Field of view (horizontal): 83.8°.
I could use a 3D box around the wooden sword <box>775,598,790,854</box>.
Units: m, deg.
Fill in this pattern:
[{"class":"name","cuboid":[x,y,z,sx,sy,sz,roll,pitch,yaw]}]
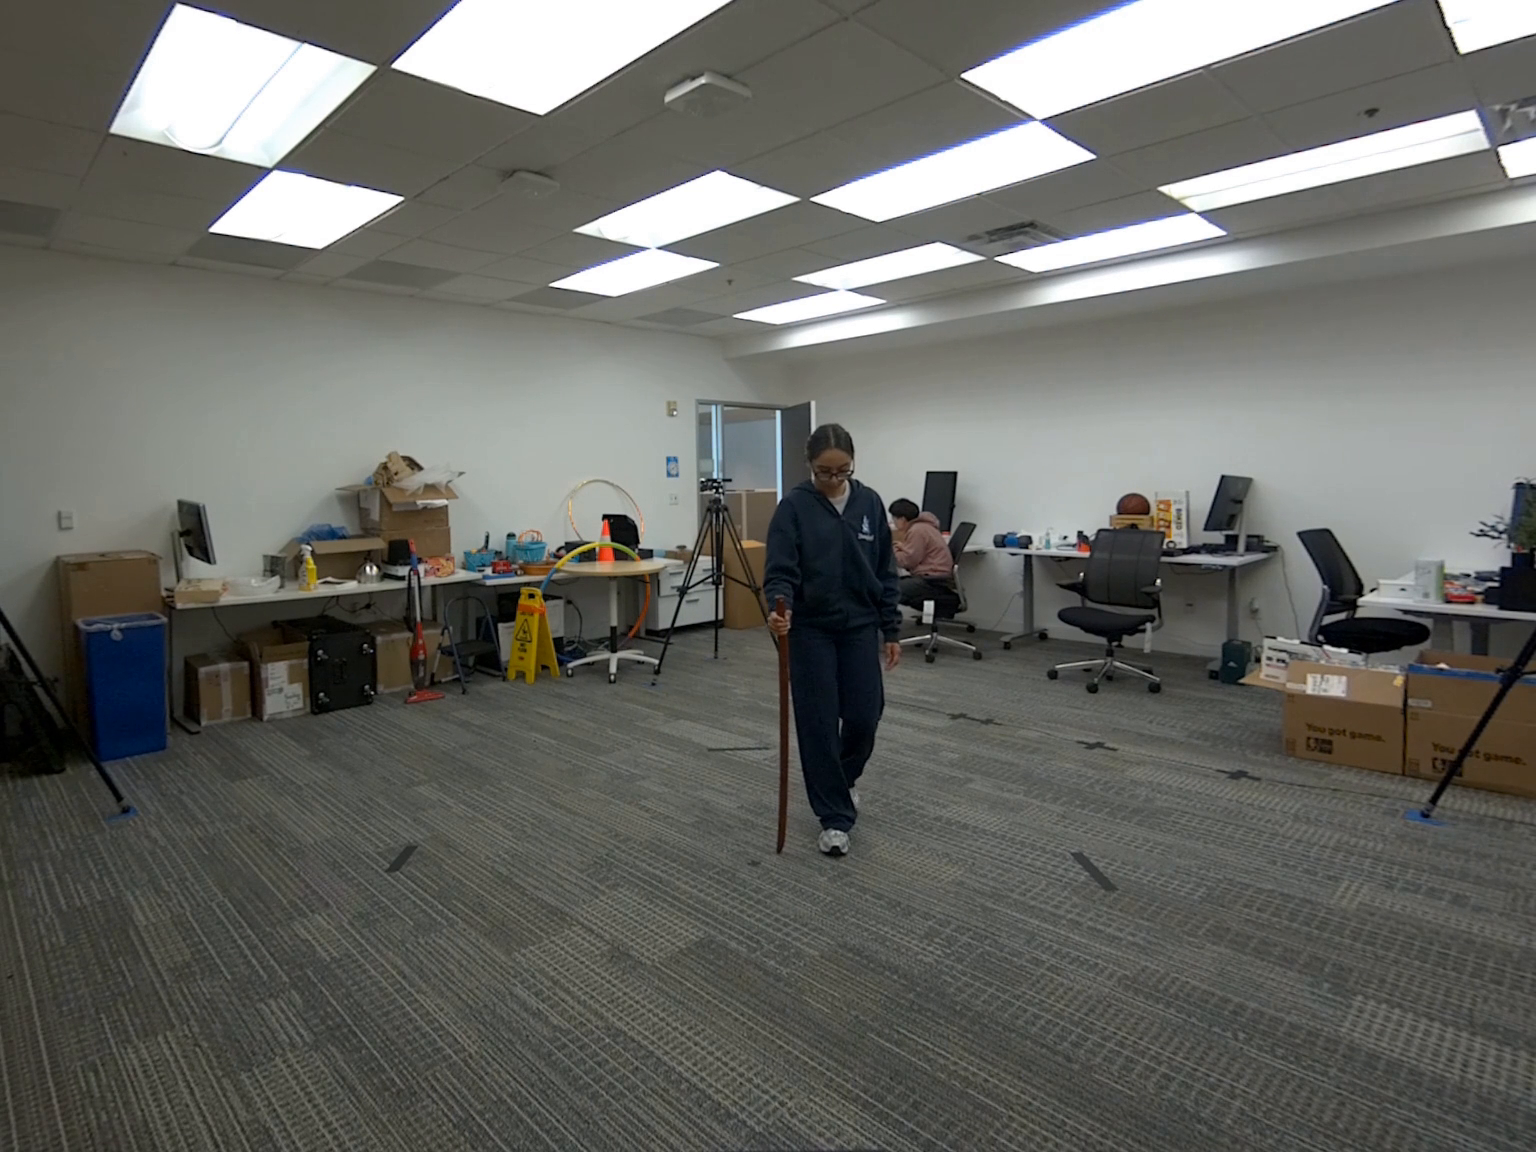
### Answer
[{"class":"wooden sword","cuboid":[0.052,0.558,3.045,0.025,1.009,0.050,15,22,40]}]
